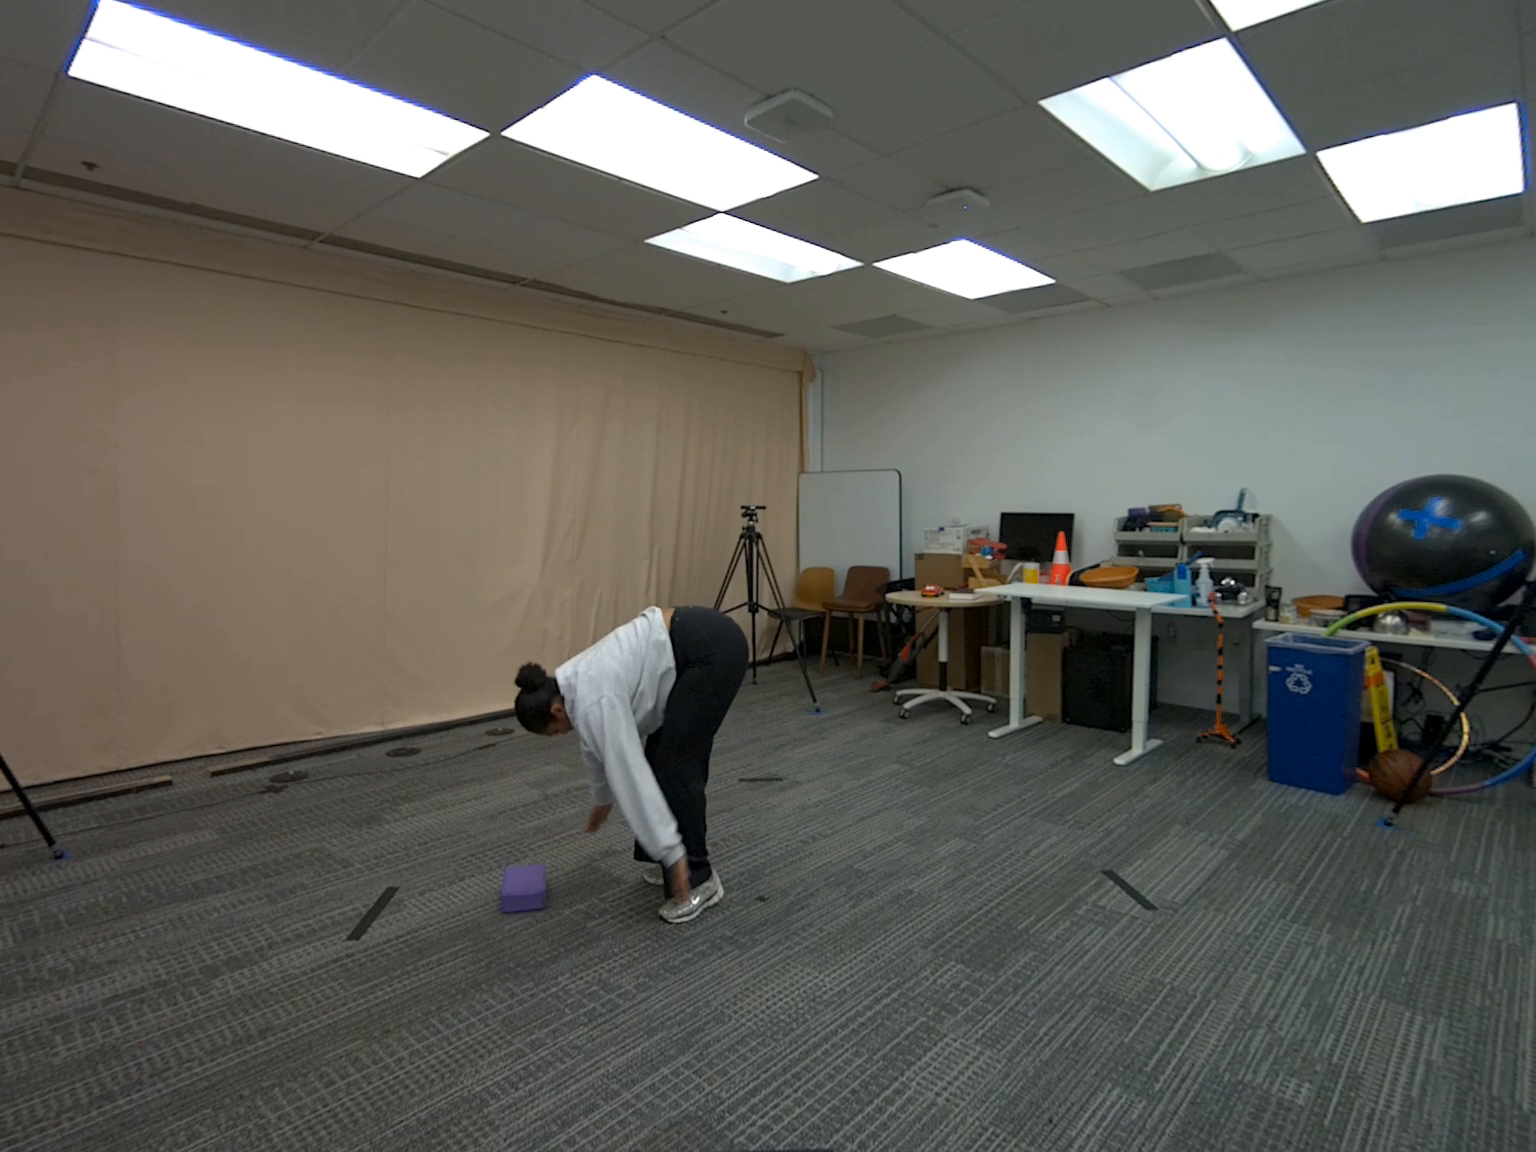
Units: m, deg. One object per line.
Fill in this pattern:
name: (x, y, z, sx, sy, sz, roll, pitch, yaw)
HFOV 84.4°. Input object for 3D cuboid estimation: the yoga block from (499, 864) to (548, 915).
yoga block: (-0.873, 1.116, 3.010, 0.147, 0.076, 0.233, -2, 5, -13)
